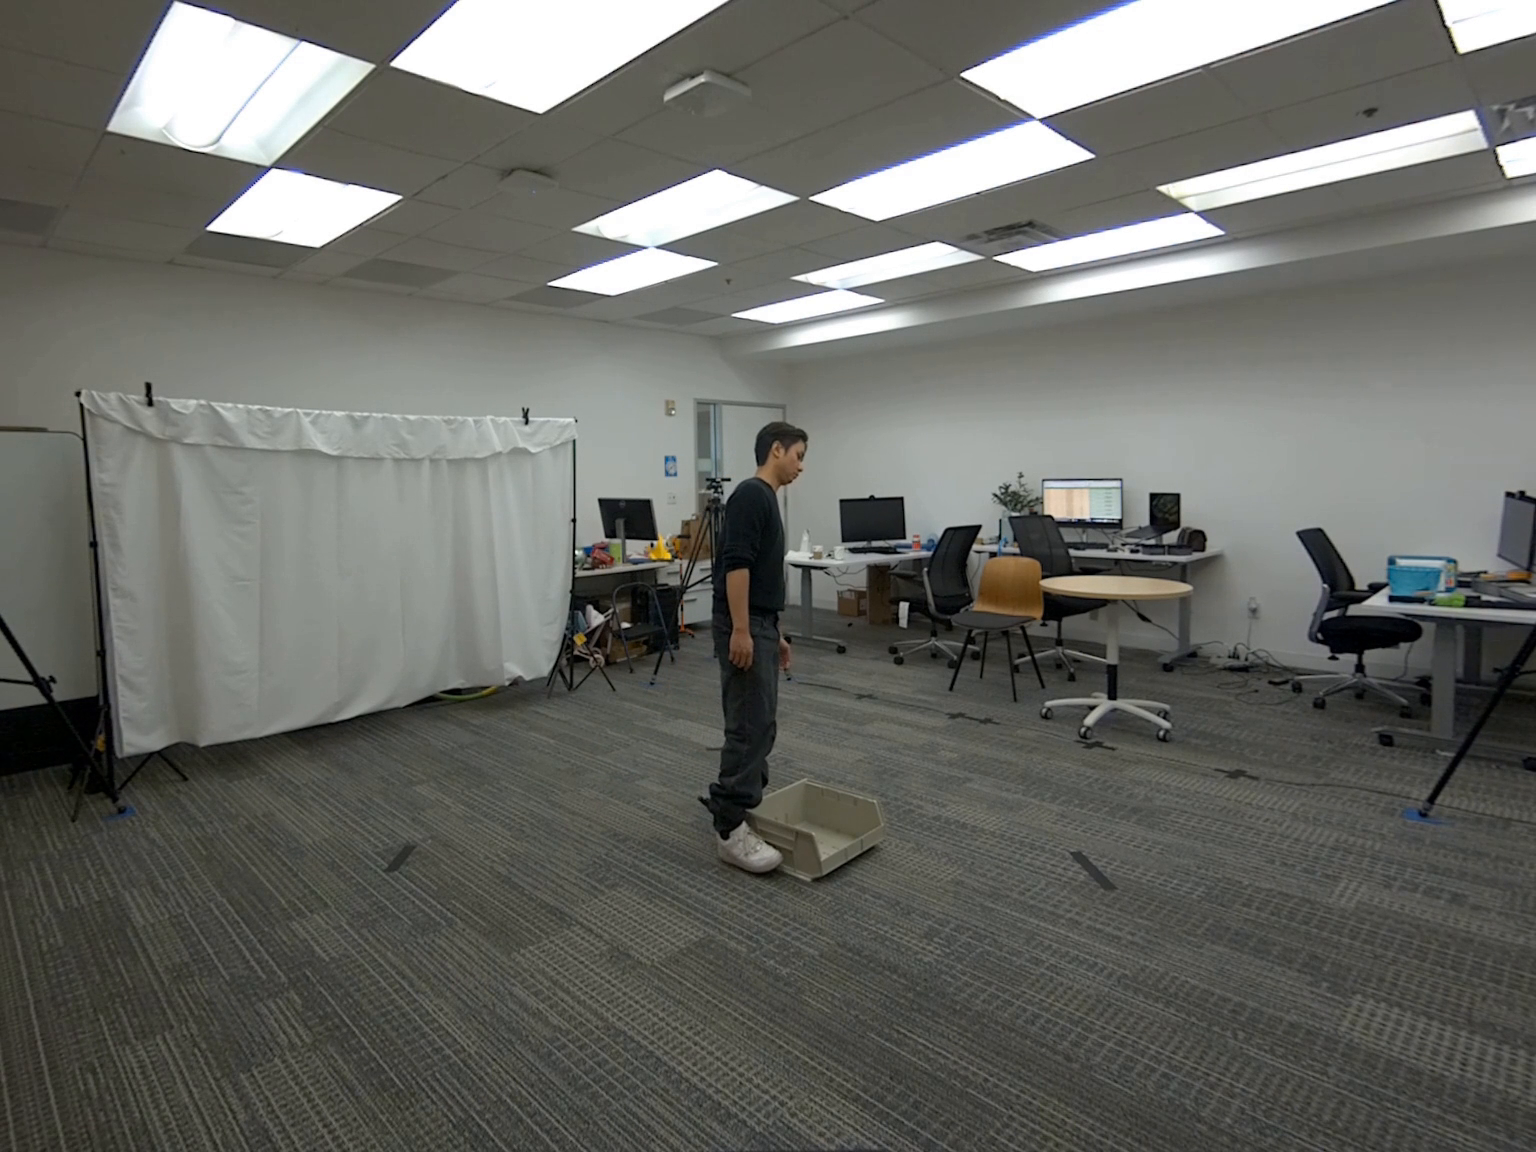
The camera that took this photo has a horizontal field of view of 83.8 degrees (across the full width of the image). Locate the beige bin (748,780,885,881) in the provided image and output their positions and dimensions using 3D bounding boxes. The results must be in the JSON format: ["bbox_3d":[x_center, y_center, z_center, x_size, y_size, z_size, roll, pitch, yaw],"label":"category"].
[{"bbox_3d":[0.173,0.941,3.185,0.389,0.188,0.412,3,8,41],"label":"beige bin"}]
